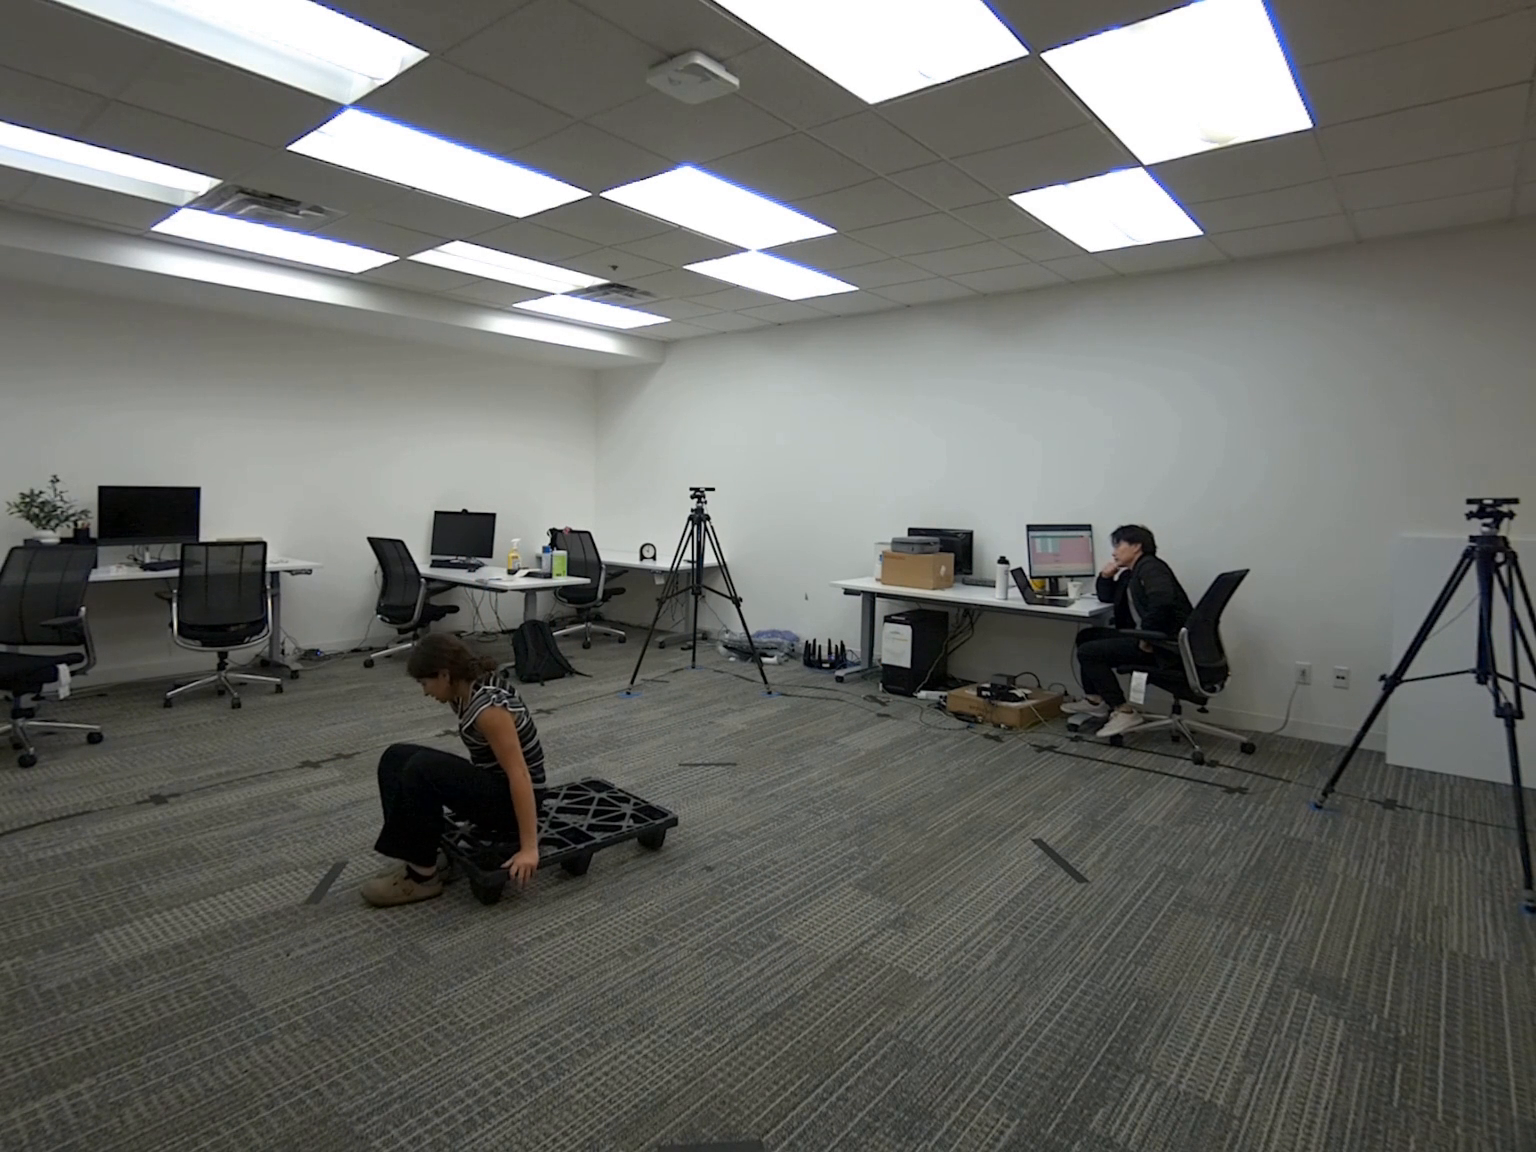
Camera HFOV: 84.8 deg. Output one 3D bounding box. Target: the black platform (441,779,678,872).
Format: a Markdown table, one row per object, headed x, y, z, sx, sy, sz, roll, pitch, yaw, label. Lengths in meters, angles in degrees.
| x | y | z | sx | sy | sz | roll | pitch | yaw | label |
| --- | --- | --- | --- | --- | --- | --- | --- | --- | --- |
| -0.842 | 0.979 | 3.214 | 0.782 | 0.143 | 0.625 | -5 | 7 | -42 | black platform |
